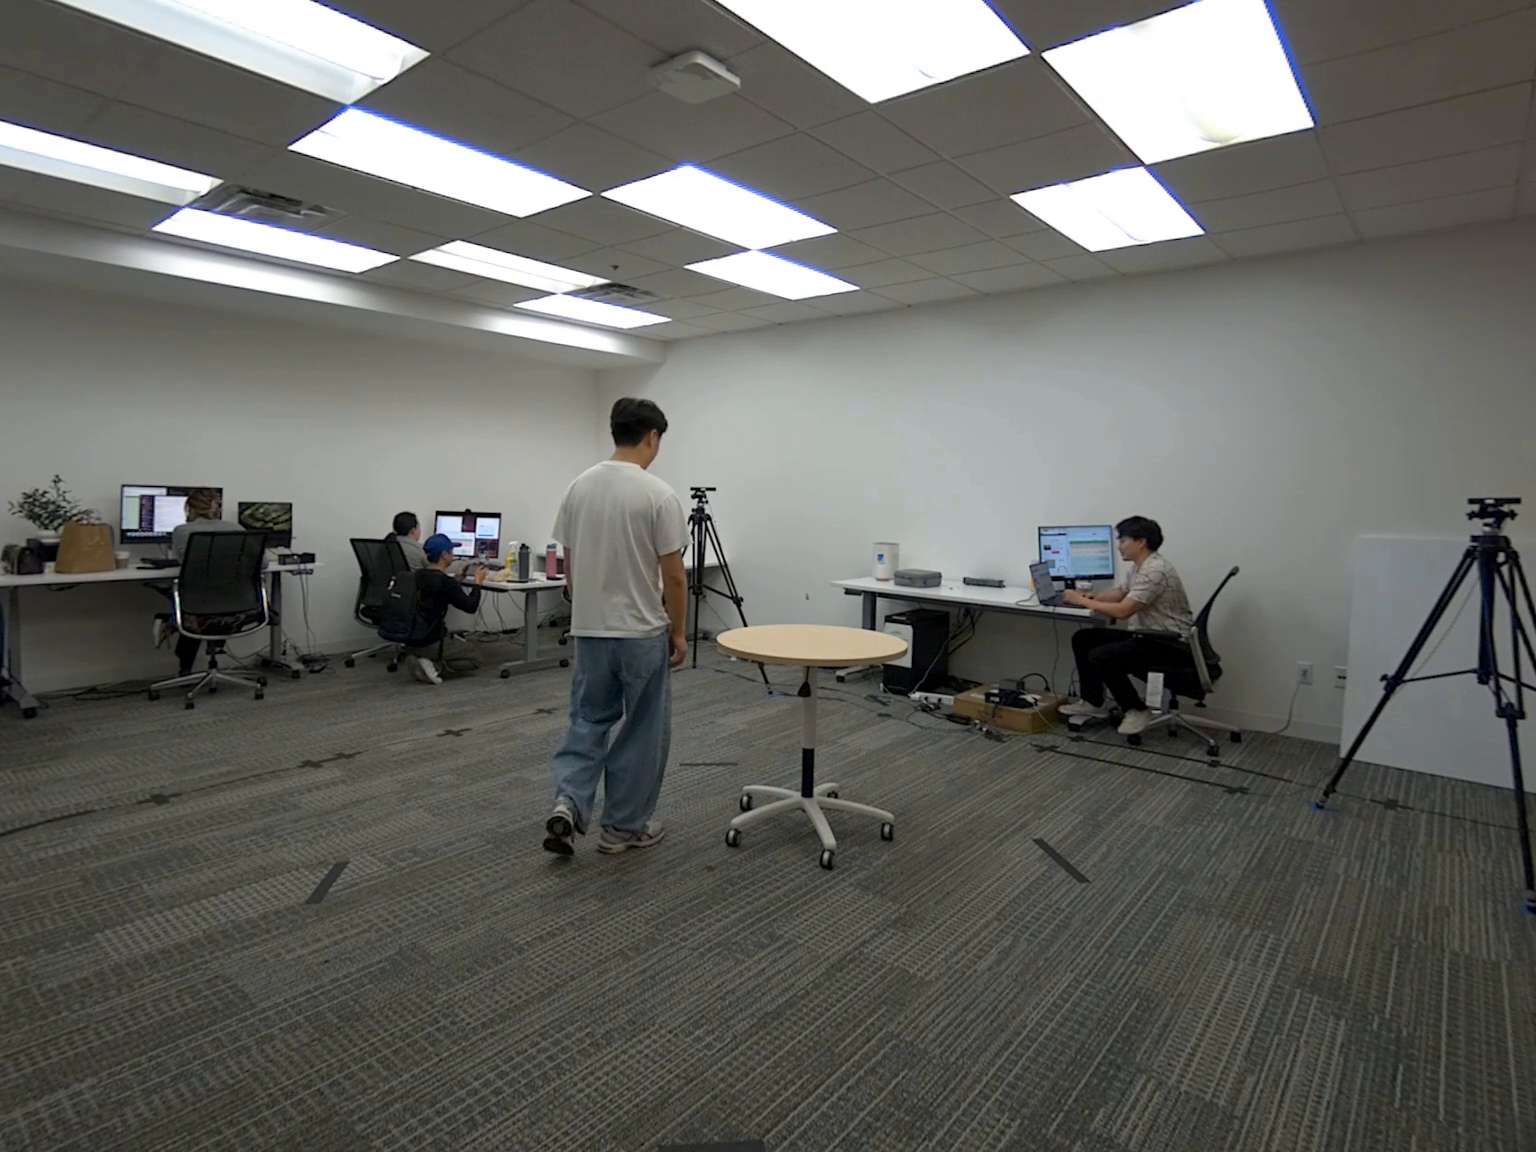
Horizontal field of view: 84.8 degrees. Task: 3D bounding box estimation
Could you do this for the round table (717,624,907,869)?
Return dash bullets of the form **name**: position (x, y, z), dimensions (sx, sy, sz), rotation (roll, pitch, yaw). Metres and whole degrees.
- **round table**: position (0.151, 0.652, 3.464), dimensions (0.763, 0.791, 0.767), rotation (1, 4, -2)
